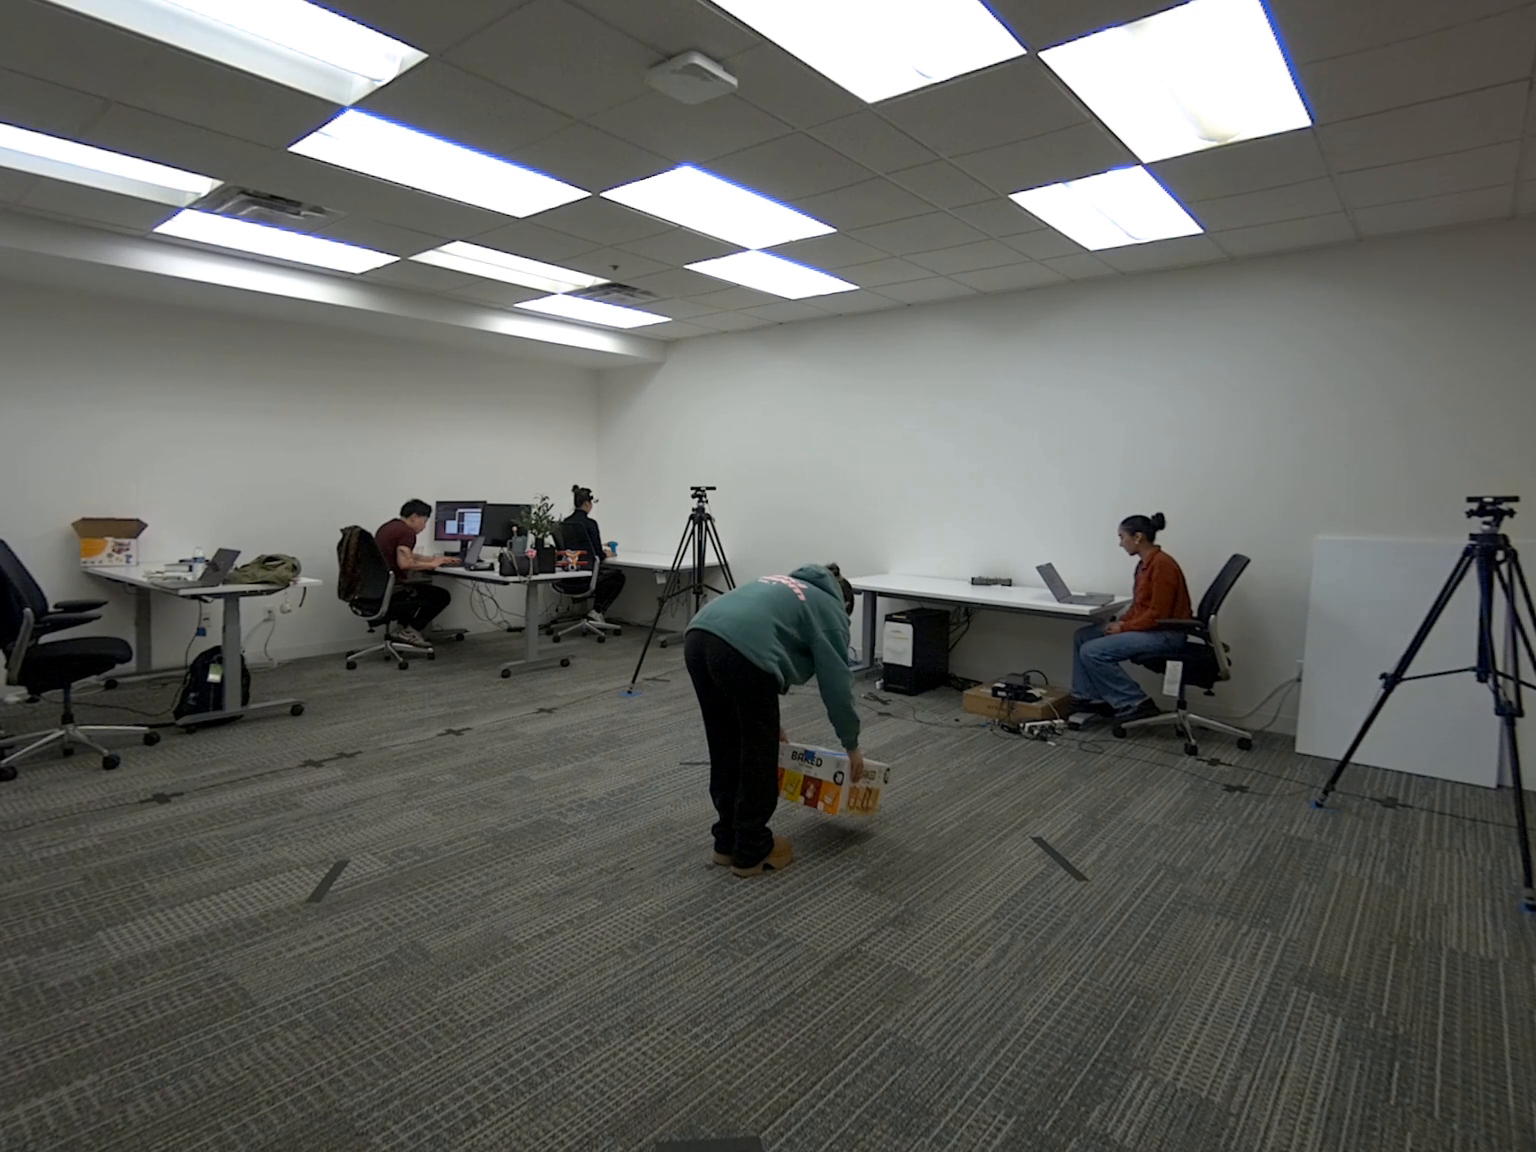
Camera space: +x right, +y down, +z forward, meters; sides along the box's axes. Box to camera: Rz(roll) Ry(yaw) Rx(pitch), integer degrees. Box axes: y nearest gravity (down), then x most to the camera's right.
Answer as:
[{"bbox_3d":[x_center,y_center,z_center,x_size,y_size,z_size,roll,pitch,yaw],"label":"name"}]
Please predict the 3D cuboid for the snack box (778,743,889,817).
[{"bbox_3d":[0.231,0.802,3.419,0.352,0.207,0.389,8,-9,35],"label":"snack box"}]
